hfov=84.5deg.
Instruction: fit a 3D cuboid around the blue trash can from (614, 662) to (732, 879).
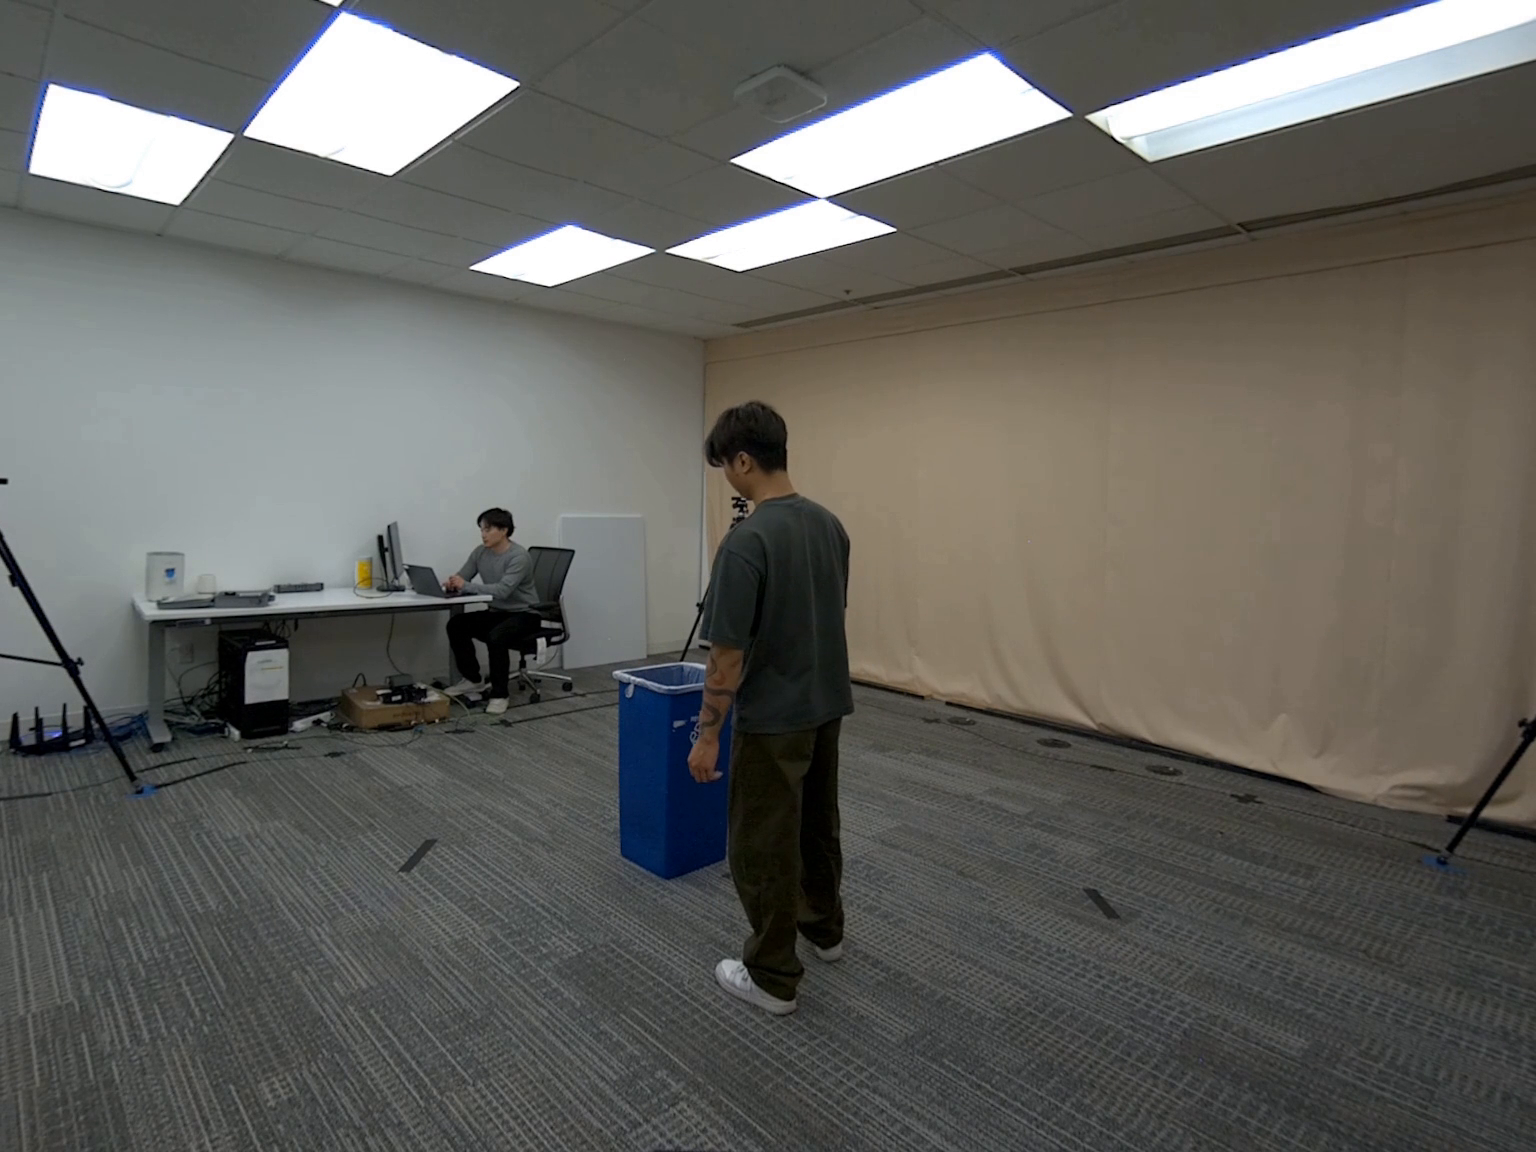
[{"bbox_3d":[-0.372,0.732,3.247,0.369,0.712,0.384,-1,5,-45],"label":"blue trash can"}]
